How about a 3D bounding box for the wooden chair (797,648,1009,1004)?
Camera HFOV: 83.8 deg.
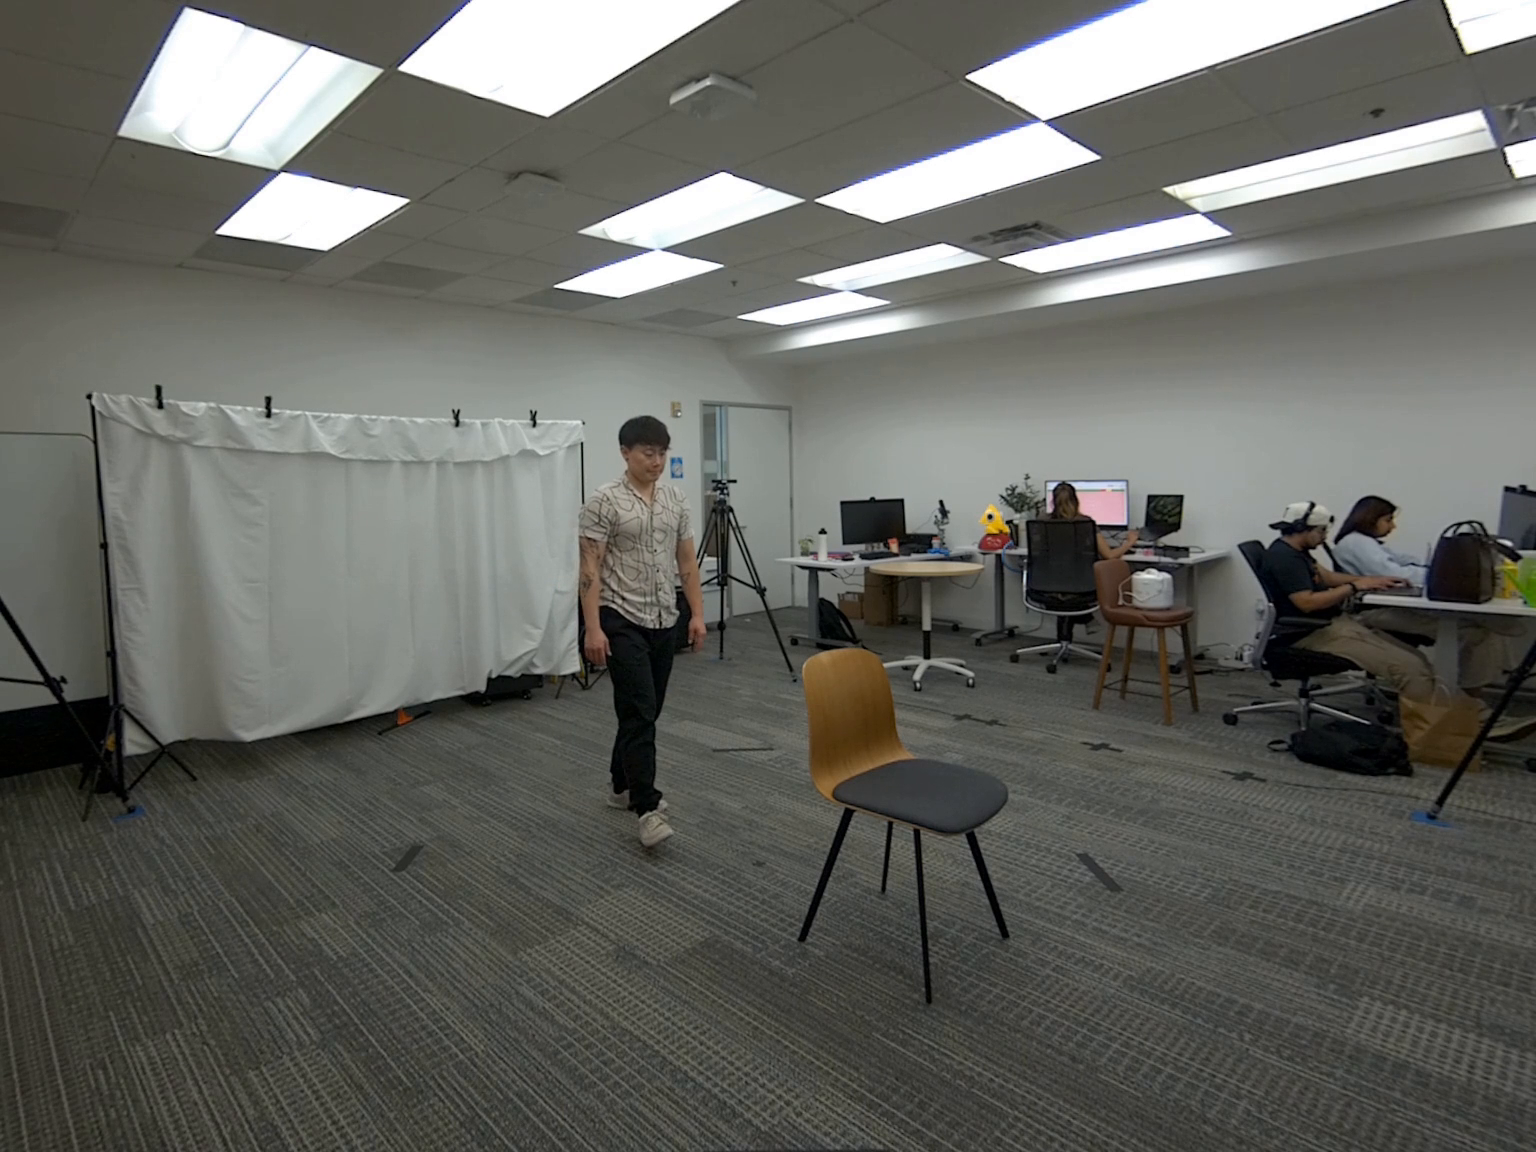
[{"bbox_3d":[0.410,0.675,2.543,0.537,0.877,0.465,-3,1,43],"label":"wooden chair"}]
